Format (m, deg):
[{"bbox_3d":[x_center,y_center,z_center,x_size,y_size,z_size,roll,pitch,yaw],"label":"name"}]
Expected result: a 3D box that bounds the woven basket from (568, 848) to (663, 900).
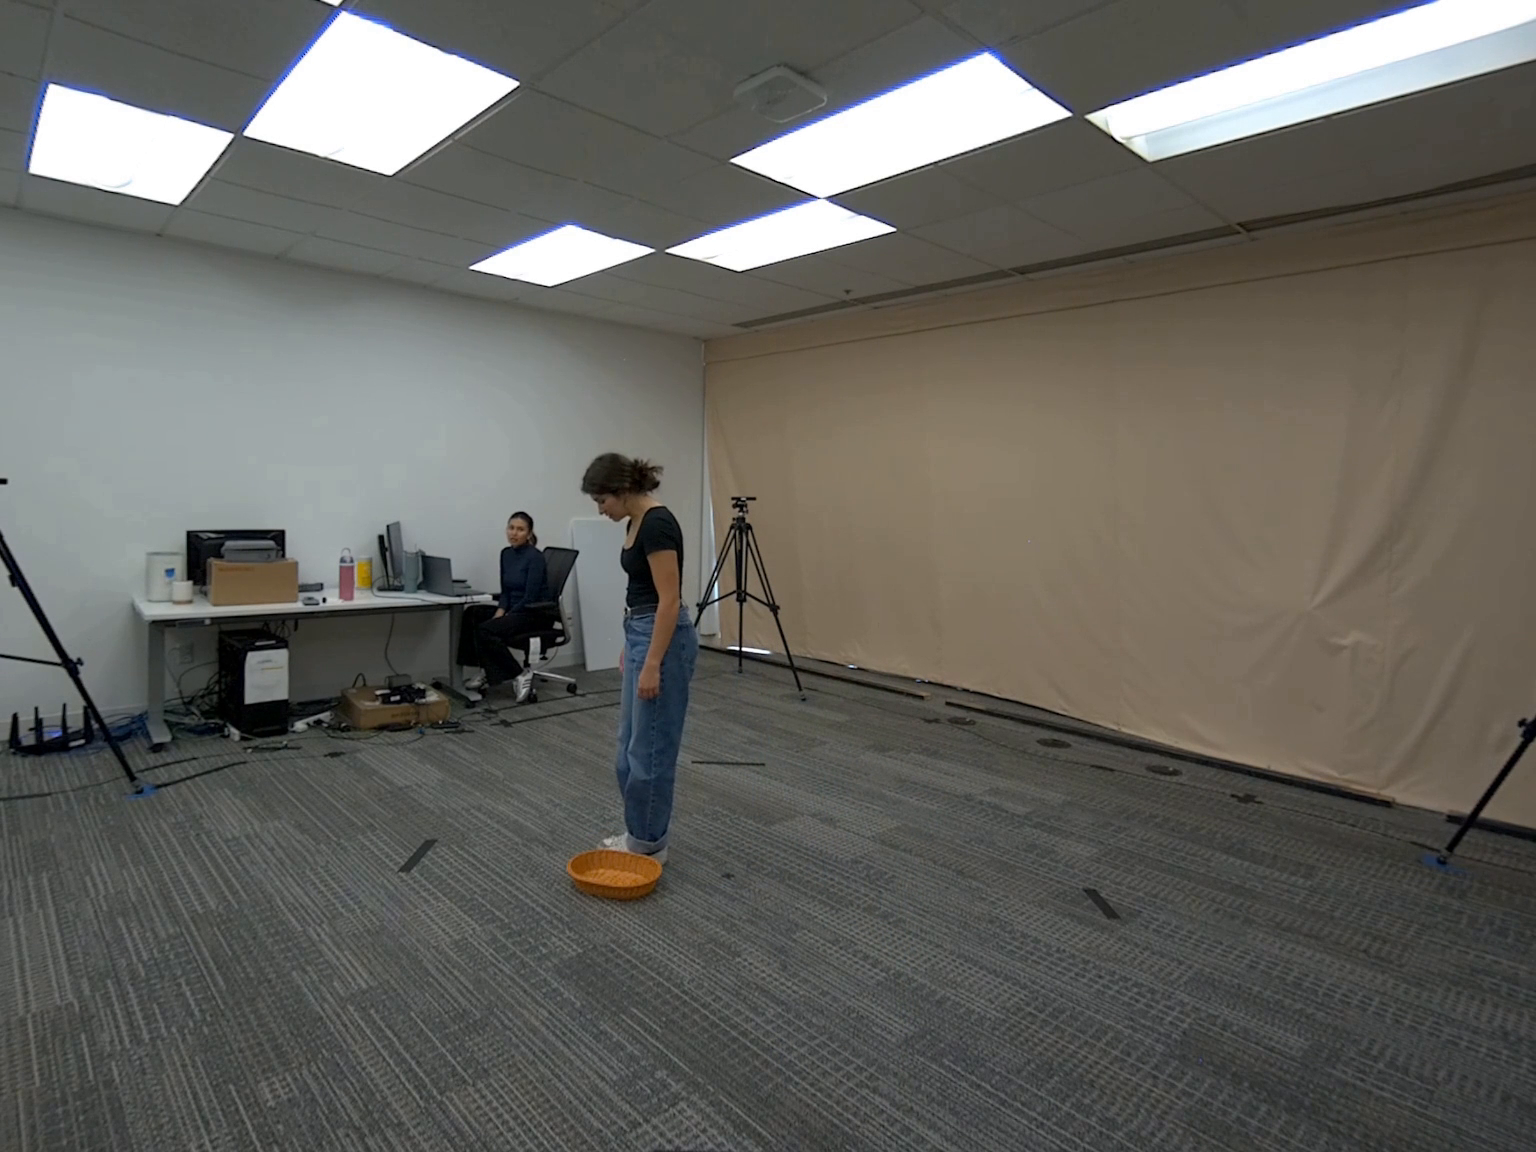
[{"bbox_3d":[-0.554,1.068,2.994,0.356,0.073,0.249,4,7,20],"label":"woven basket"}]
